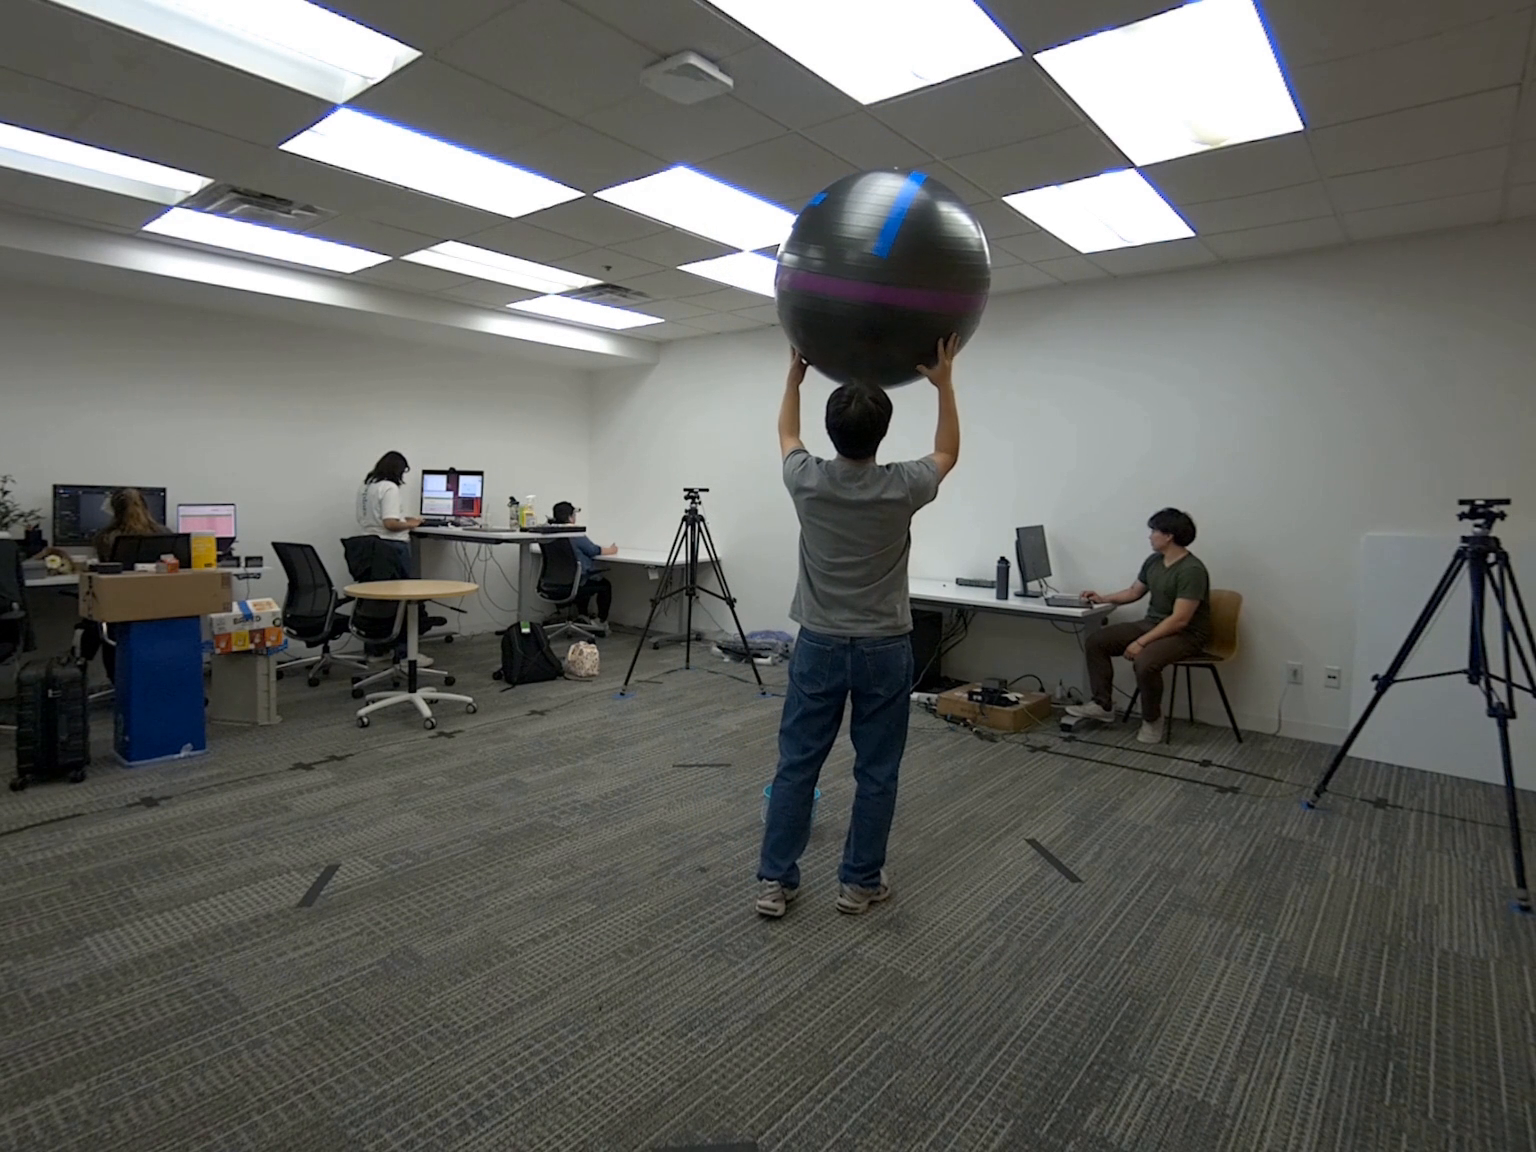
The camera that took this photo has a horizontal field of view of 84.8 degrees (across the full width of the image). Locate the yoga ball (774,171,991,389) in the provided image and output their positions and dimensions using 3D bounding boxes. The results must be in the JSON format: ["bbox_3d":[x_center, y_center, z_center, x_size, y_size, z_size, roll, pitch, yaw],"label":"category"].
[{"bbox_3d":[0.396,-1.053,3.057,0.757,0.756,0.761,1,4,-2],"label":"yoga ball"}]
